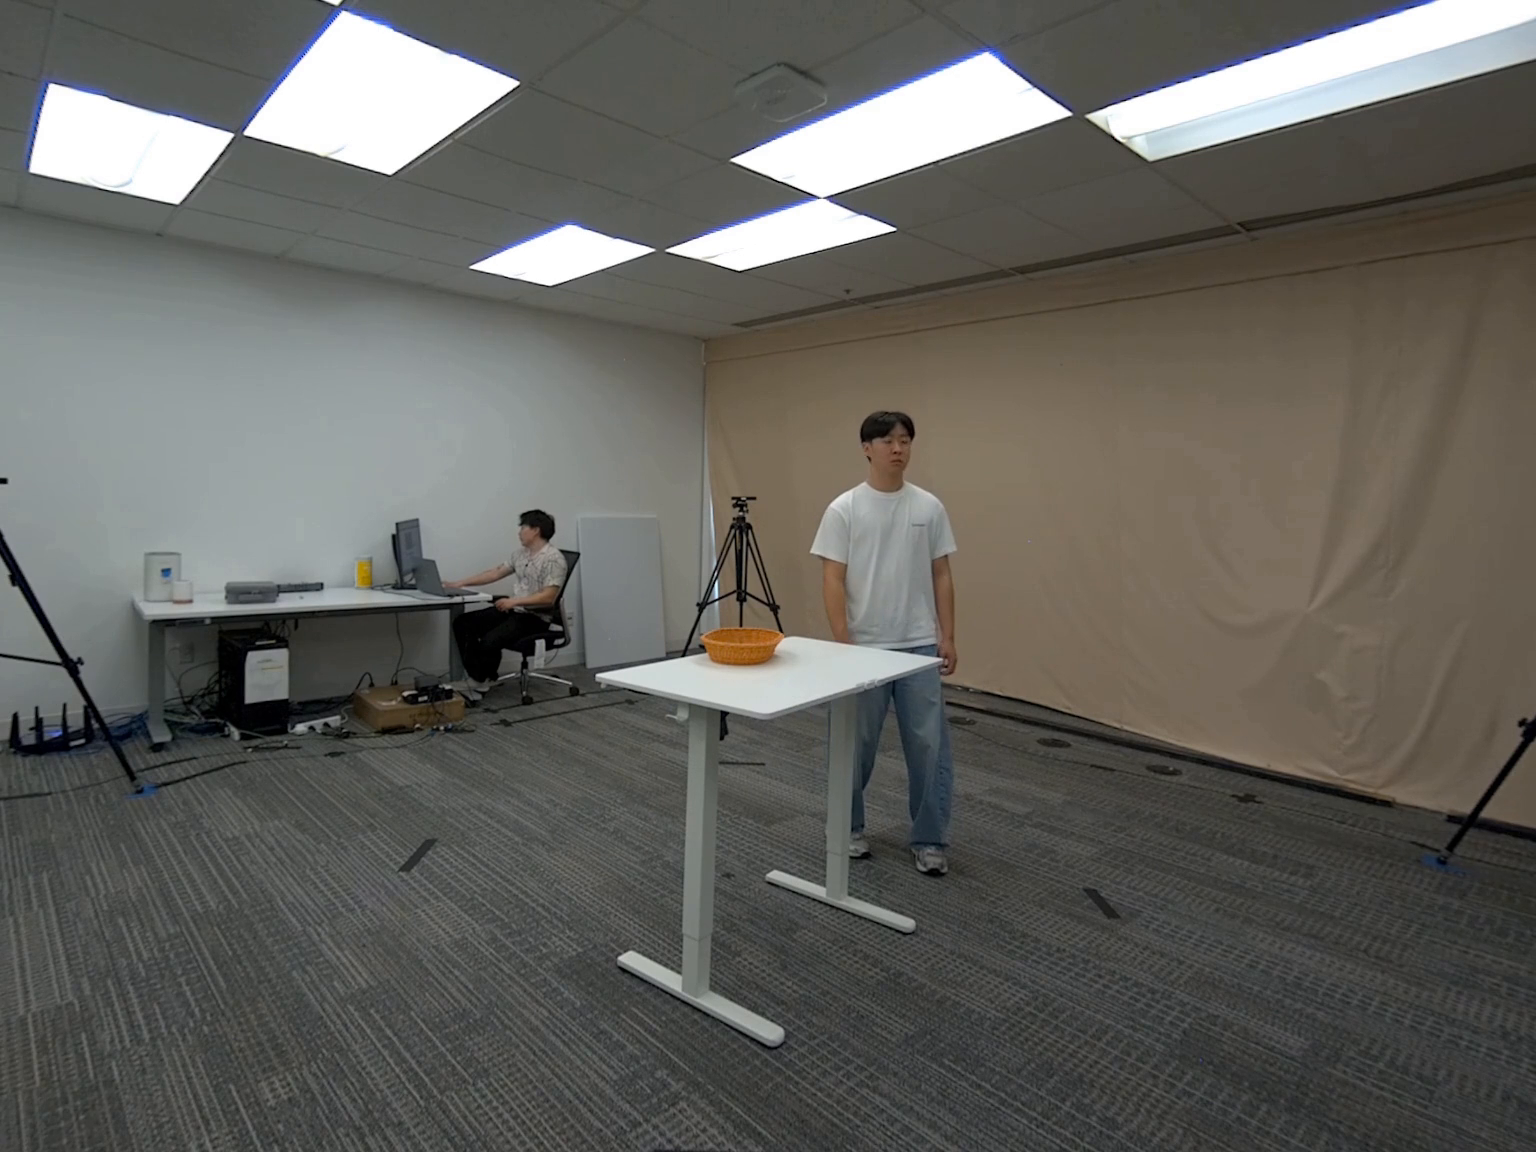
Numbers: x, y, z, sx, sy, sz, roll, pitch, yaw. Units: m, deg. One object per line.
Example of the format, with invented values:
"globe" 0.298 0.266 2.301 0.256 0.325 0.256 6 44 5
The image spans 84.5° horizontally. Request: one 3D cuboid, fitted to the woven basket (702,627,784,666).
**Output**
"woven basket" -0.088 0.235 2.682 0.256 0.073 0.346 4 5 17
